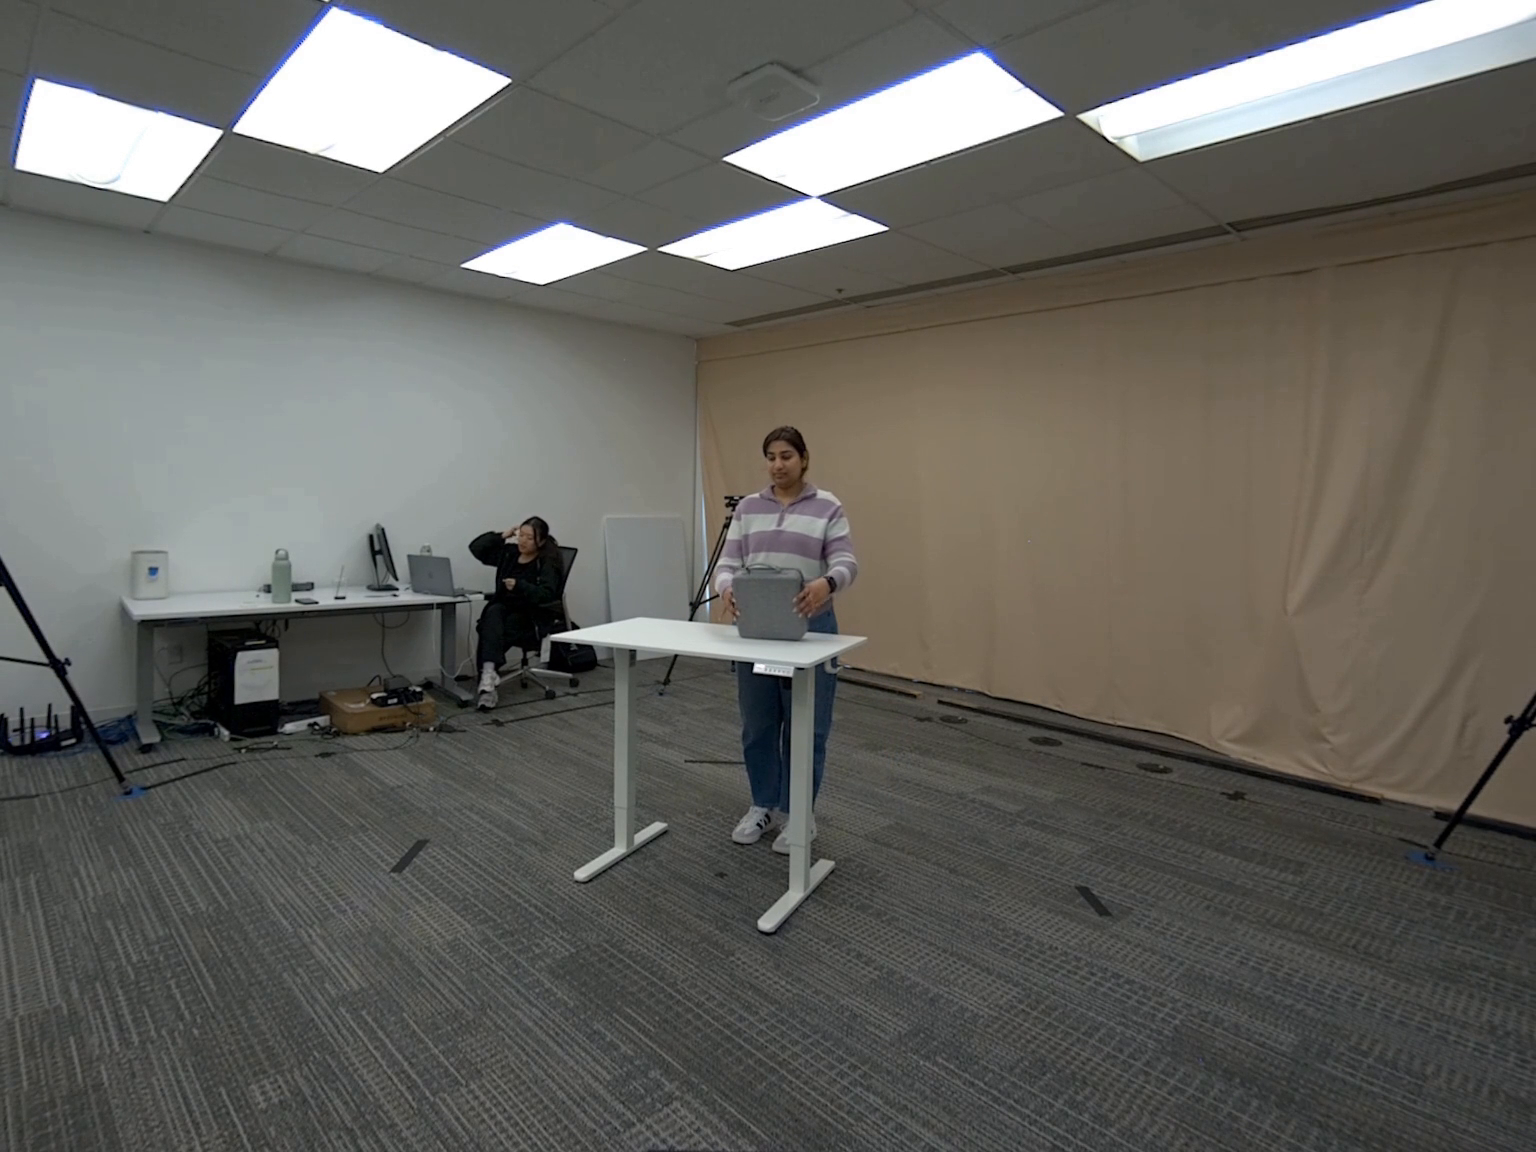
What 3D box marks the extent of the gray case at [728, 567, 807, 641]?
[{"bbox_3d":[-0.006,0.096,3.011,0.260,0.256,0.104,-1,21,18],"label":"gray case"}]
